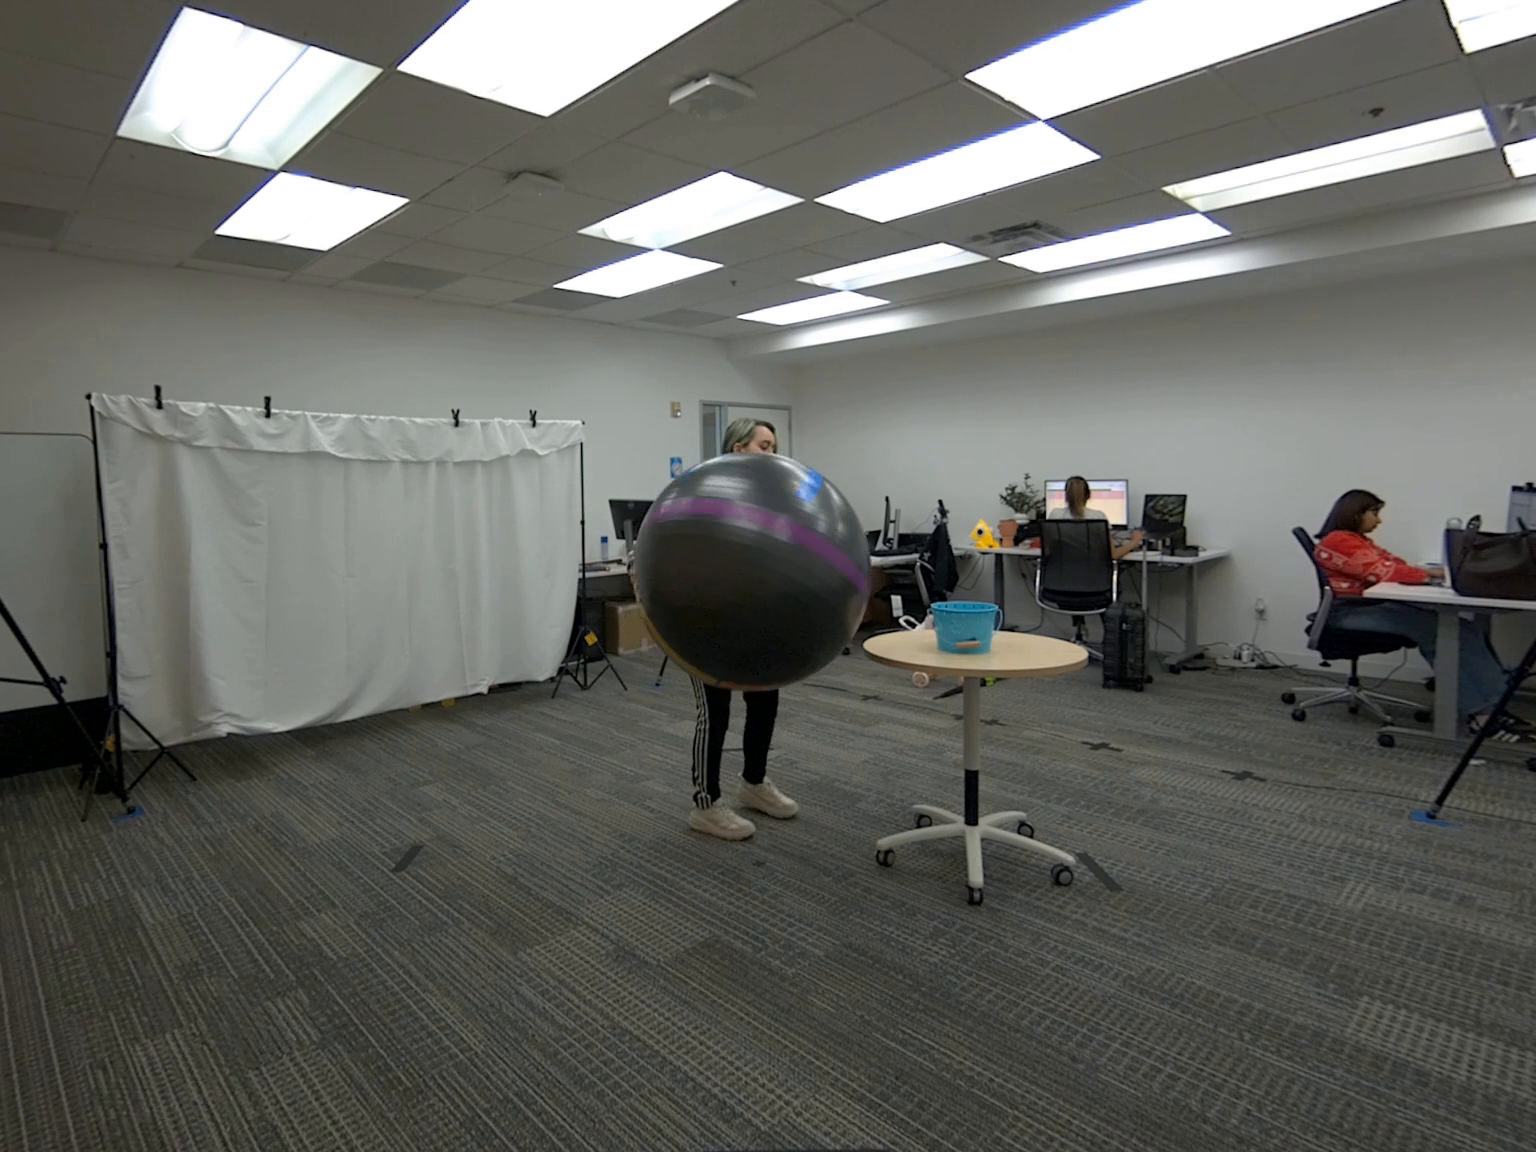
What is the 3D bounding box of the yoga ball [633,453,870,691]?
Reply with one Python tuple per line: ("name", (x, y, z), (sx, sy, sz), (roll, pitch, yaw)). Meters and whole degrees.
("yoga ball", (-0.051, -0.008, 2.727), (0.757, 0.755, 0.762), (-1, 5, -2))
